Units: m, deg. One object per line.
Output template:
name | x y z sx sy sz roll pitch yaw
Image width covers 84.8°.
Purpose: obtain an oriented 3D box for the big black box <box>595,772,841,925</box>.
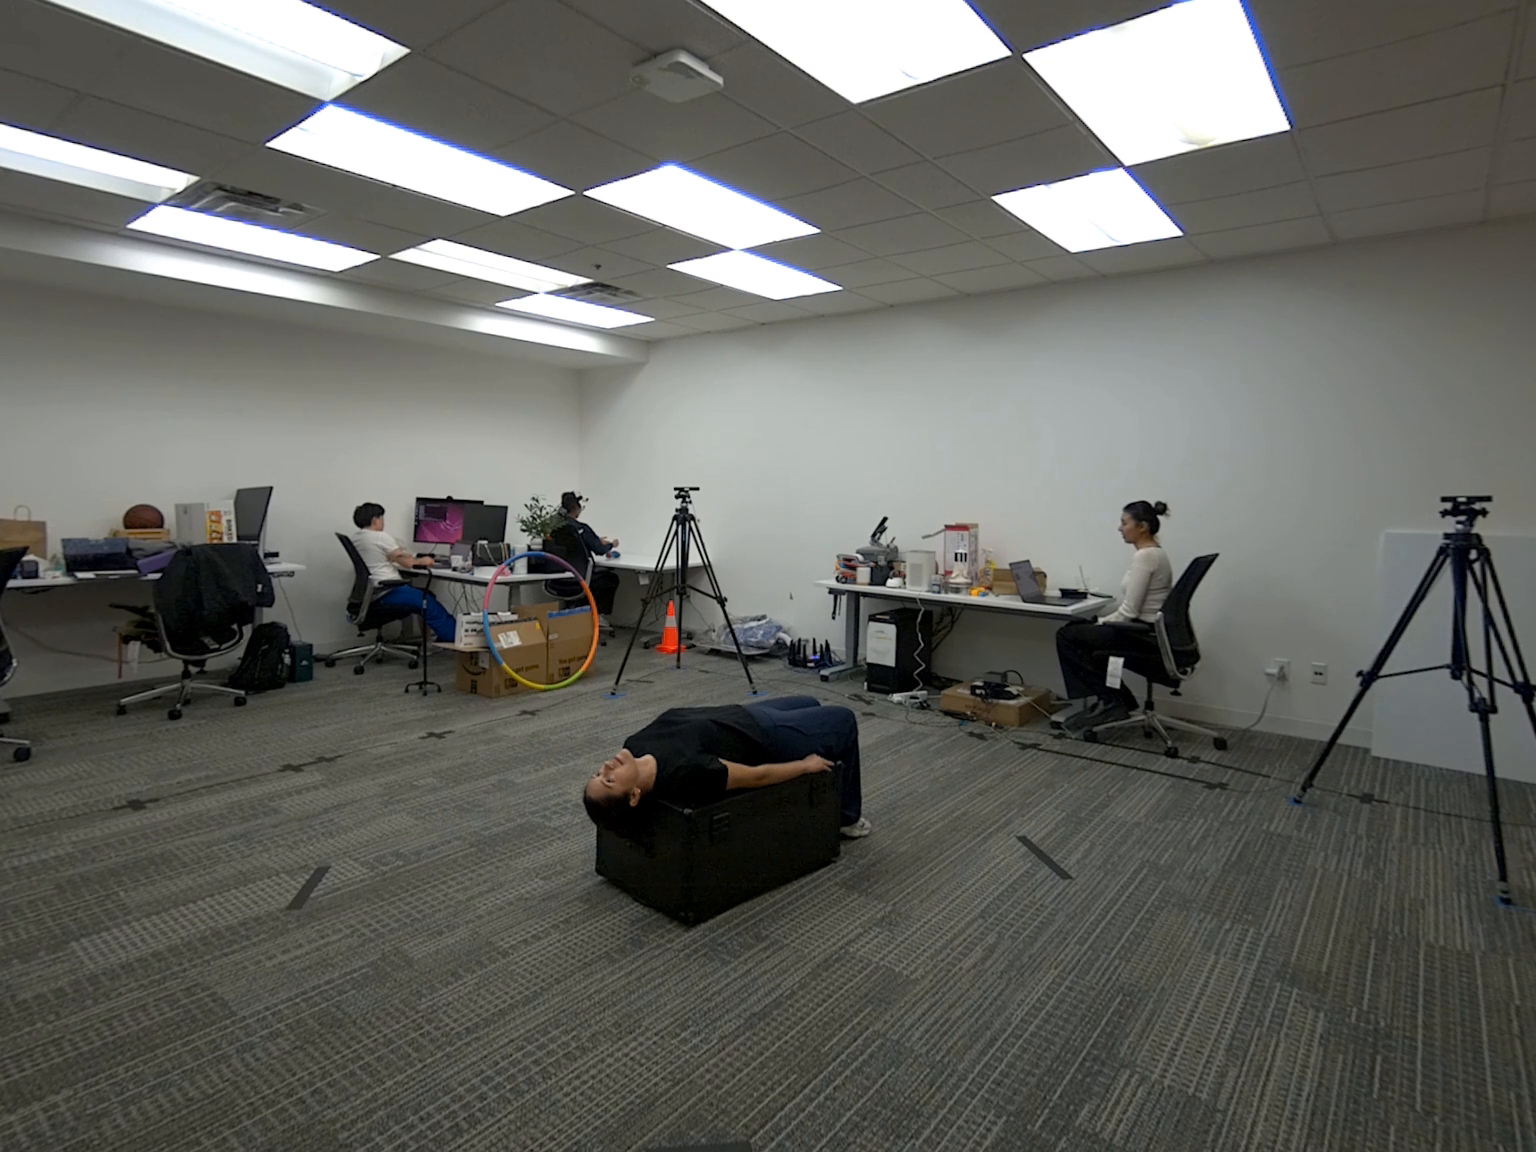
big black box | -0.172 0.891 3.084 0.835 0.395 0.539 -2 5 -45
